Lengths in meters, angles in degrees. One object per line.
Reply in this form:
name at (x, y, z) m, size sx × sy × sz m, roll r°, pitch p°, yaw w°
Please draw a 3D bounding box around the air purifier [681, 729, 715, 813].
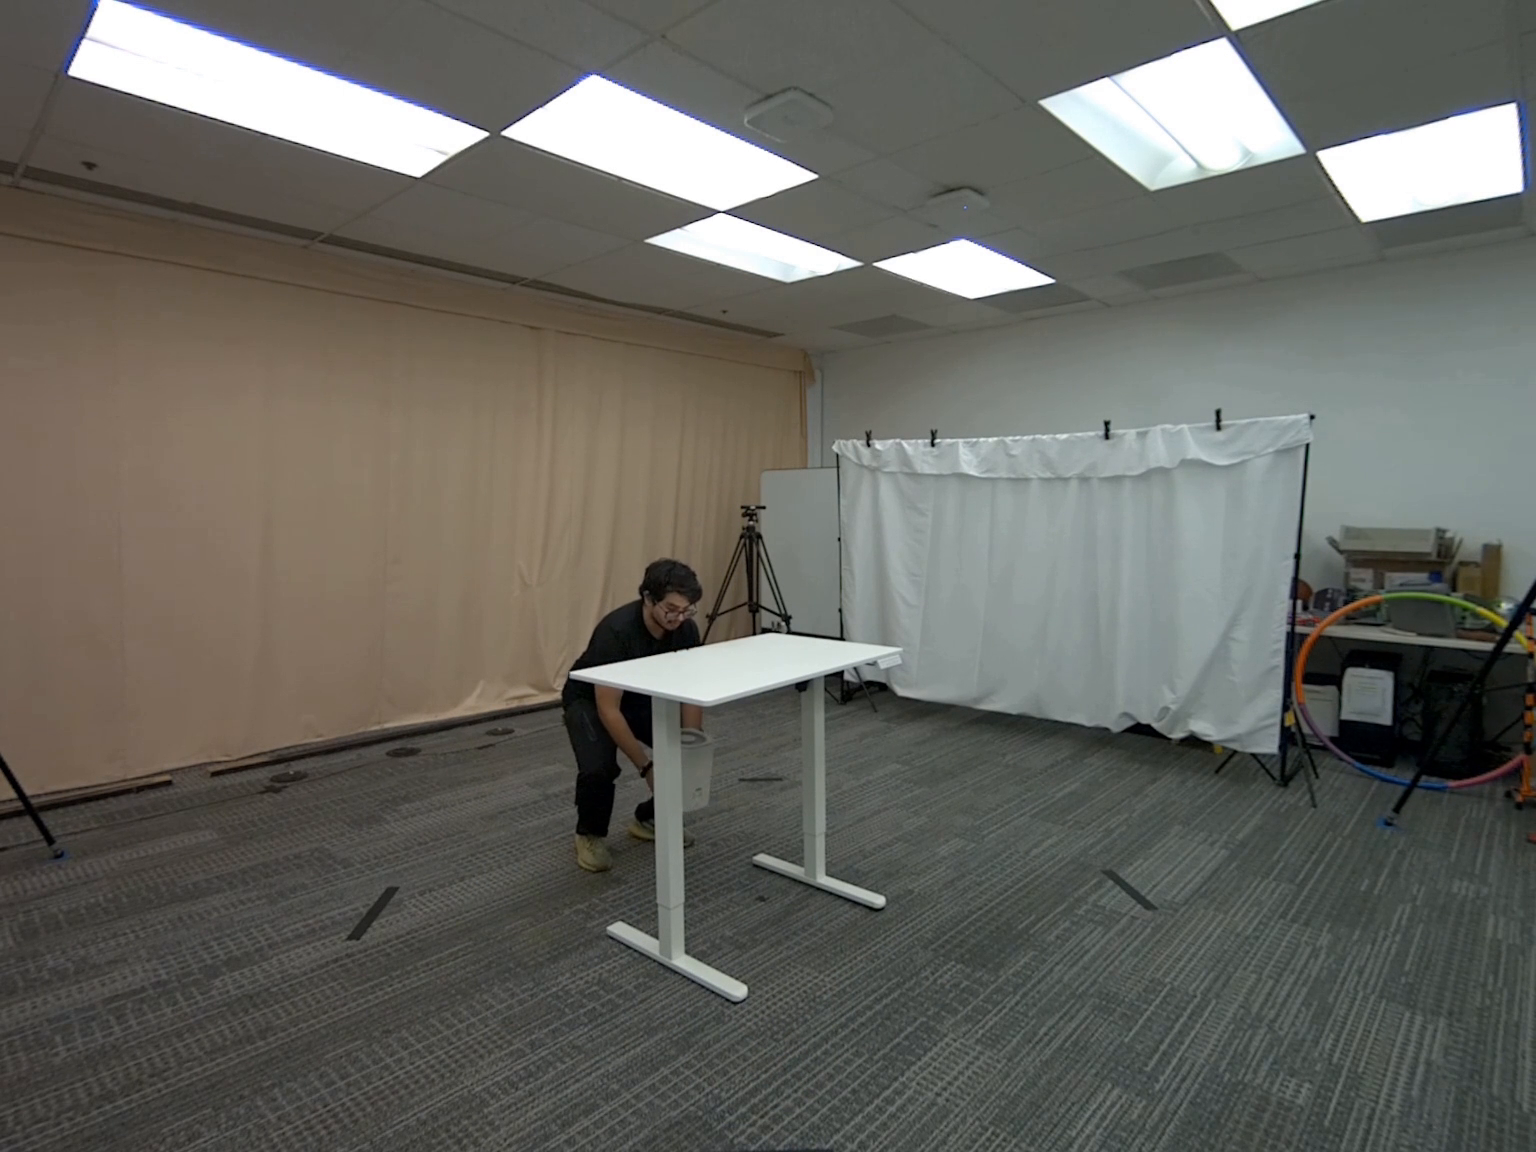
air purifier at (-0.299, 0.729, 3.124) m, size 0.166 × 0.264 × 0.178 m, roll -2°, pitch 10°, yaw -42°
